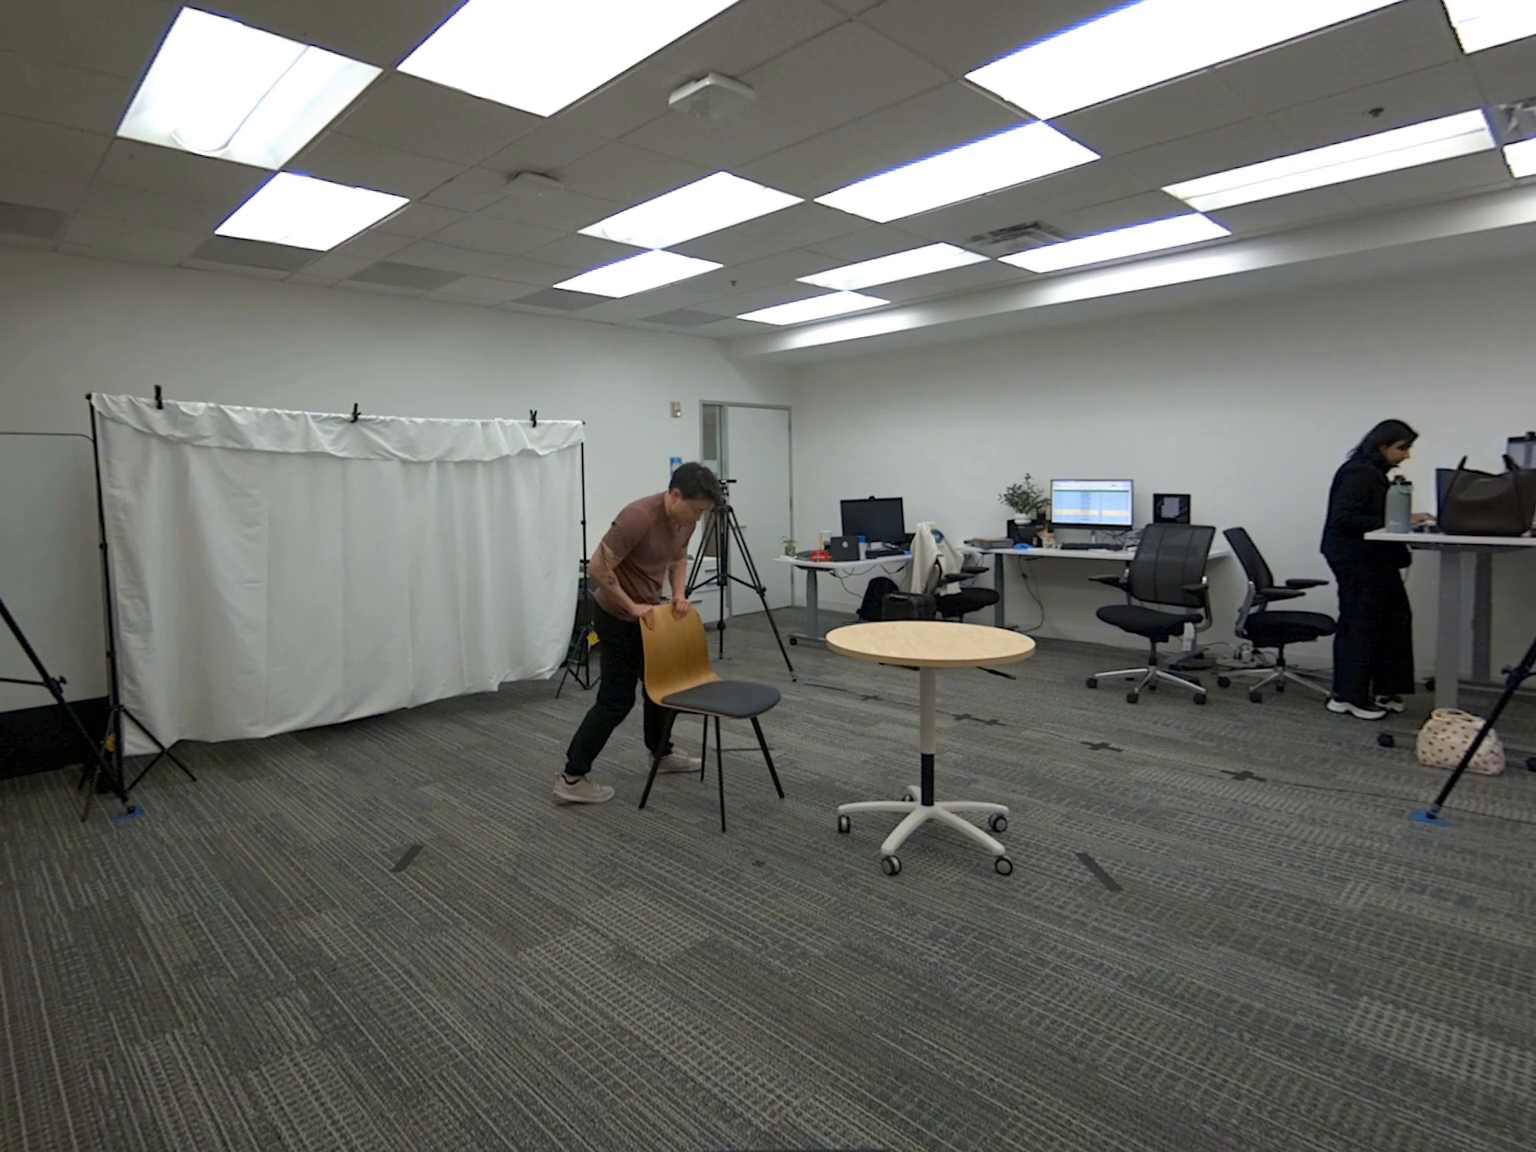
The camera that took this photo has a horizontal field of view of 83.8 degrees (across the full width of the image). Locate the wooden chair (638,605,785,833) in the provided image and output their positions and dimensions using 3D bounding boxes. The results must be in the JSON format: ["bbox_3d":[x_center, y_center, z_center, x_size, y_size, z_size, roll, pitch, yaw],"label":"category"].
[{"bbox_3d":[-0.240,0.559,3.662,0.536,0.877,0.466,-4,1,35],"label":"wooden chair"}]
